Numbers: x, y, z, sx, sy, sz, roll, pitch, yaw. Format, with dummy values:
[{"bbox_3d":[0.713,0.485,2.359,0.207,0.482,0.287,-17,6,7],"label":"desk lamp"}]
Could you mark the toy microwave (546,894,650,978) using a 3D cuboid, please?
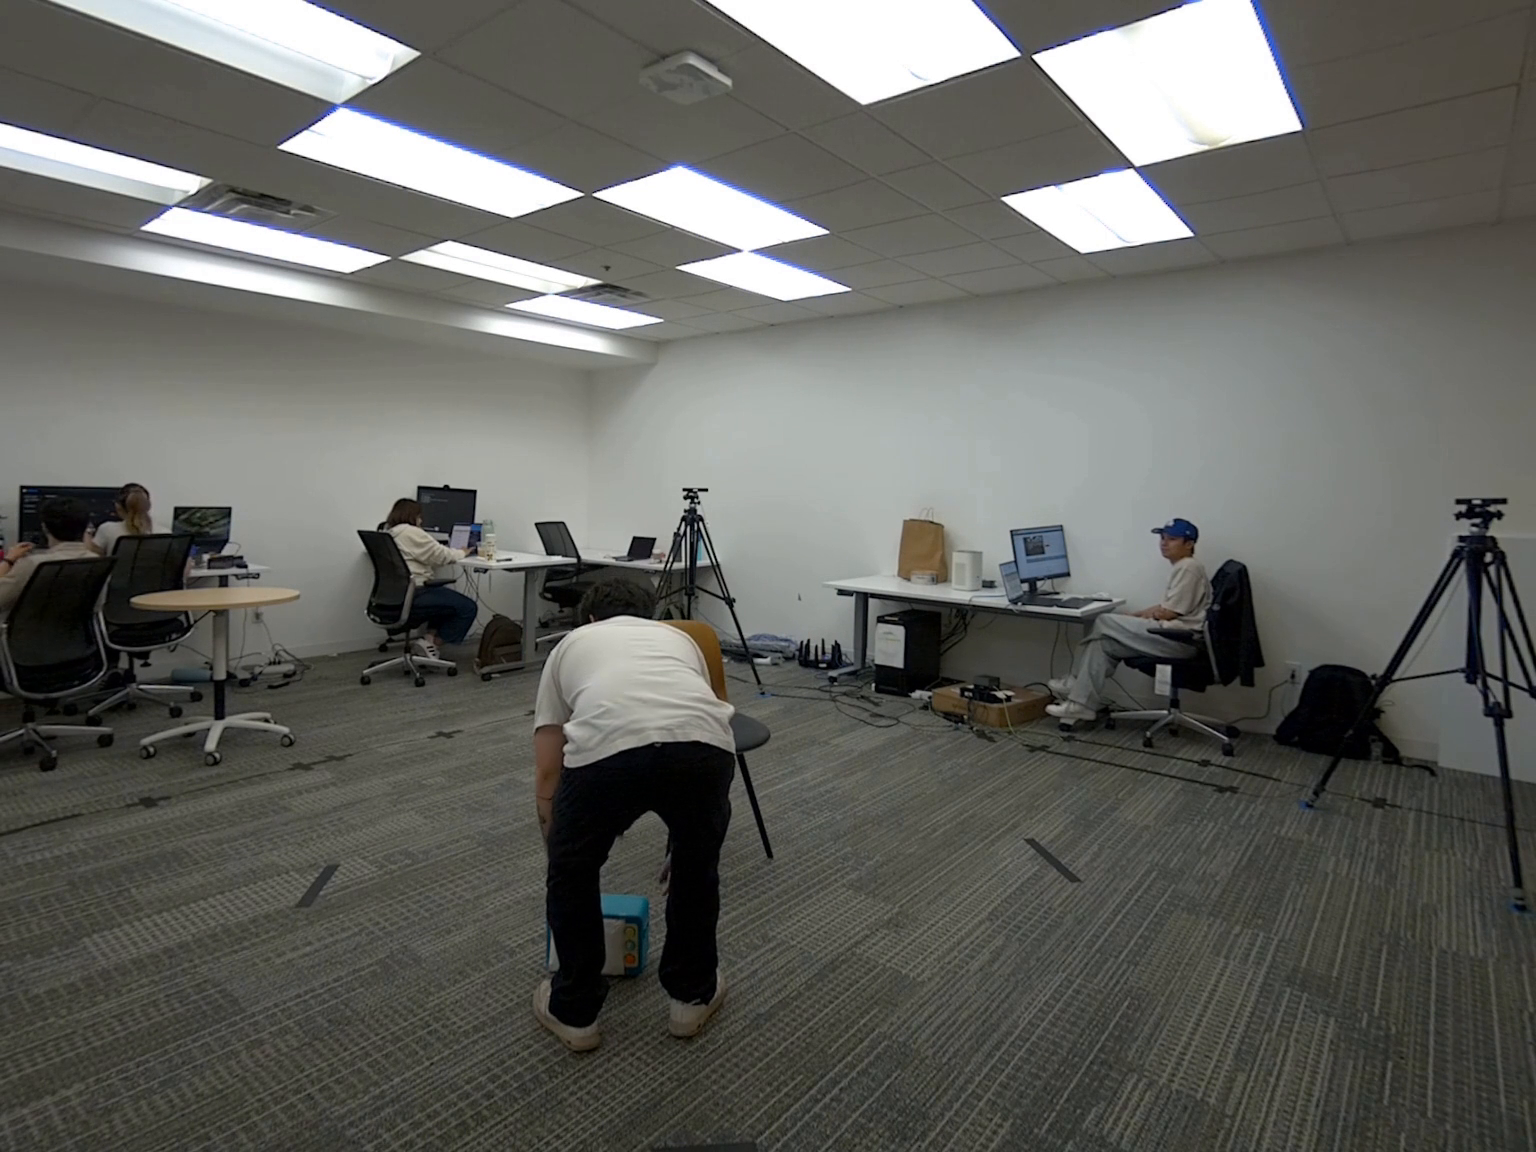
[{"bbox_3d":[-0.498,1.037,2.461,0.287,0.184,0.152,1,2,3],"label":"toy microwave"}]
